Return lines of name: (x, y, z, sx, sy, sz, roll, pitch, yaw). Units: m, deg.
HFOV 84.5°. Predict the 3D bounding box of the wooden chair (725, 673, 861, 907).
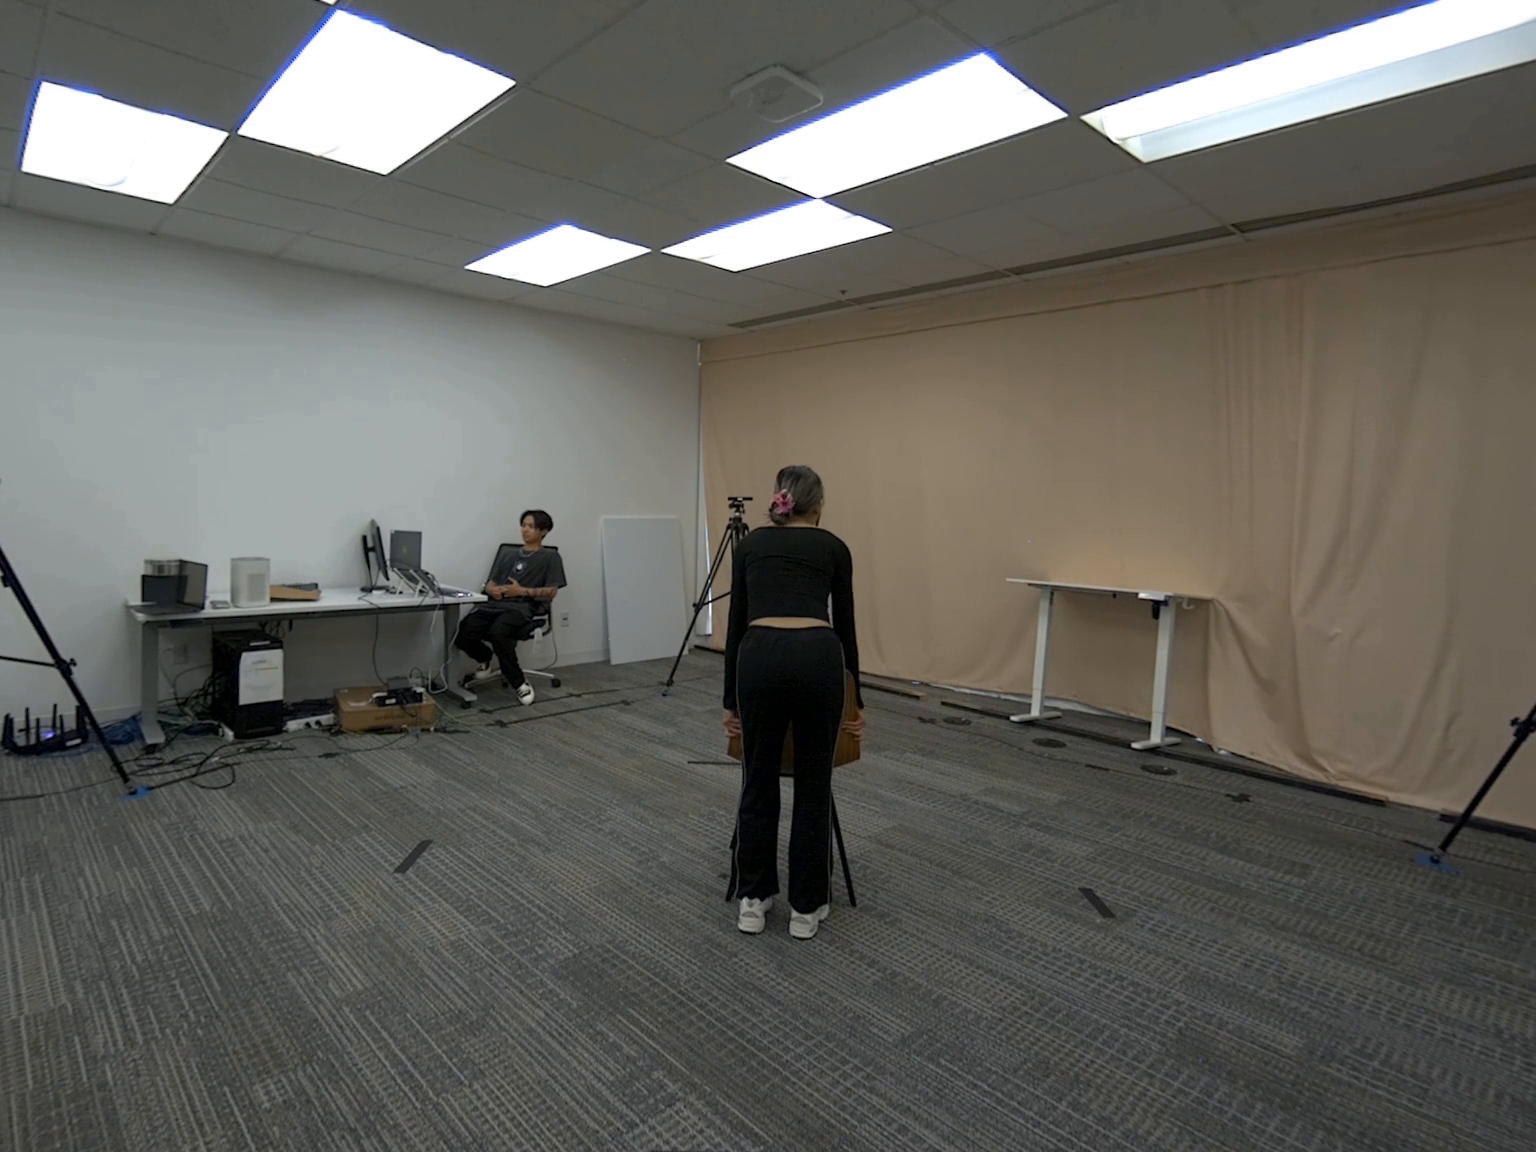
wooden chair: (0.078, 0.685, 3.100, 0.478, 0.872, 0.526, 1, 8, 0)
